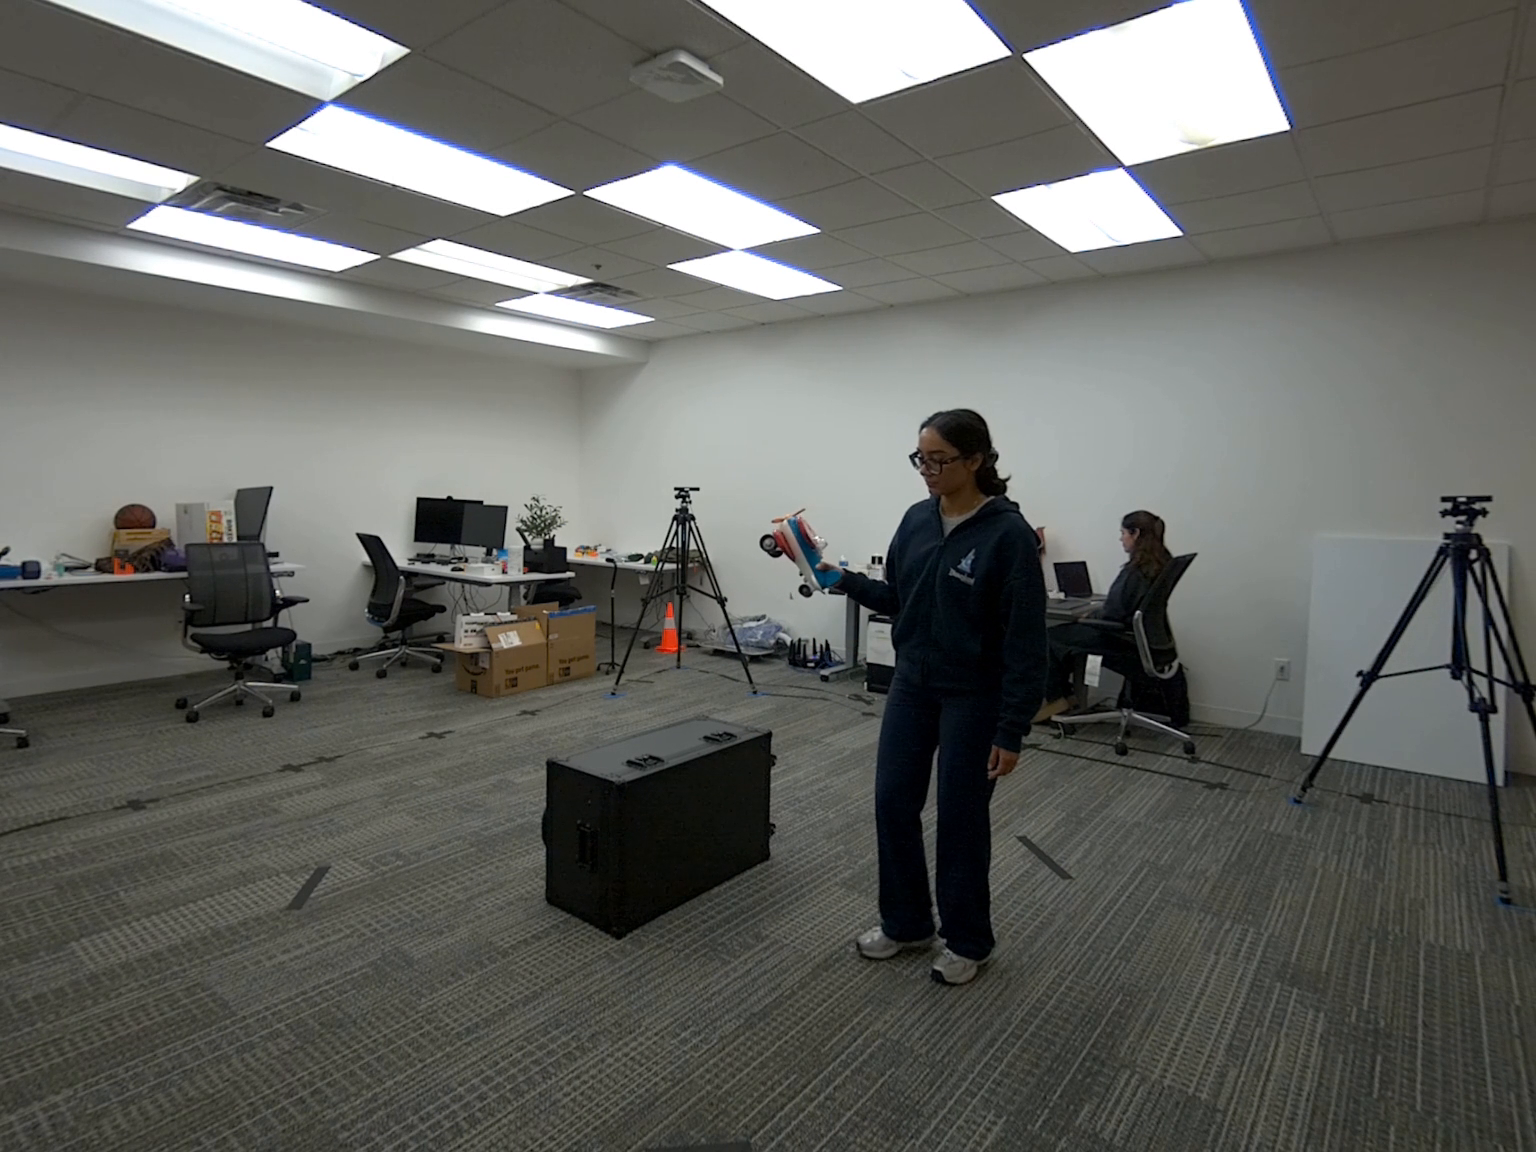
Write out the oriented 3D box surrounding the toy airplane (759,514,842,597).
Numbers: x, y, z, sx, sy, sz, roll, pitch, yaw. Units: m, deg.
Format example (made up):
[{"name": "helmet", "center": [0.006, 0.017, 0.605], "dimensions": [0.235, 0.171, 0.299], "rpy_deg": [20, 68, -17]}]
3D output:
[{"name": "toy airplane", "center": [0.094, -0.063, 2.594], "dimensions": [0.156, 0.256, 0.254], "rpy_deg": [-42, 10, 6]}]
